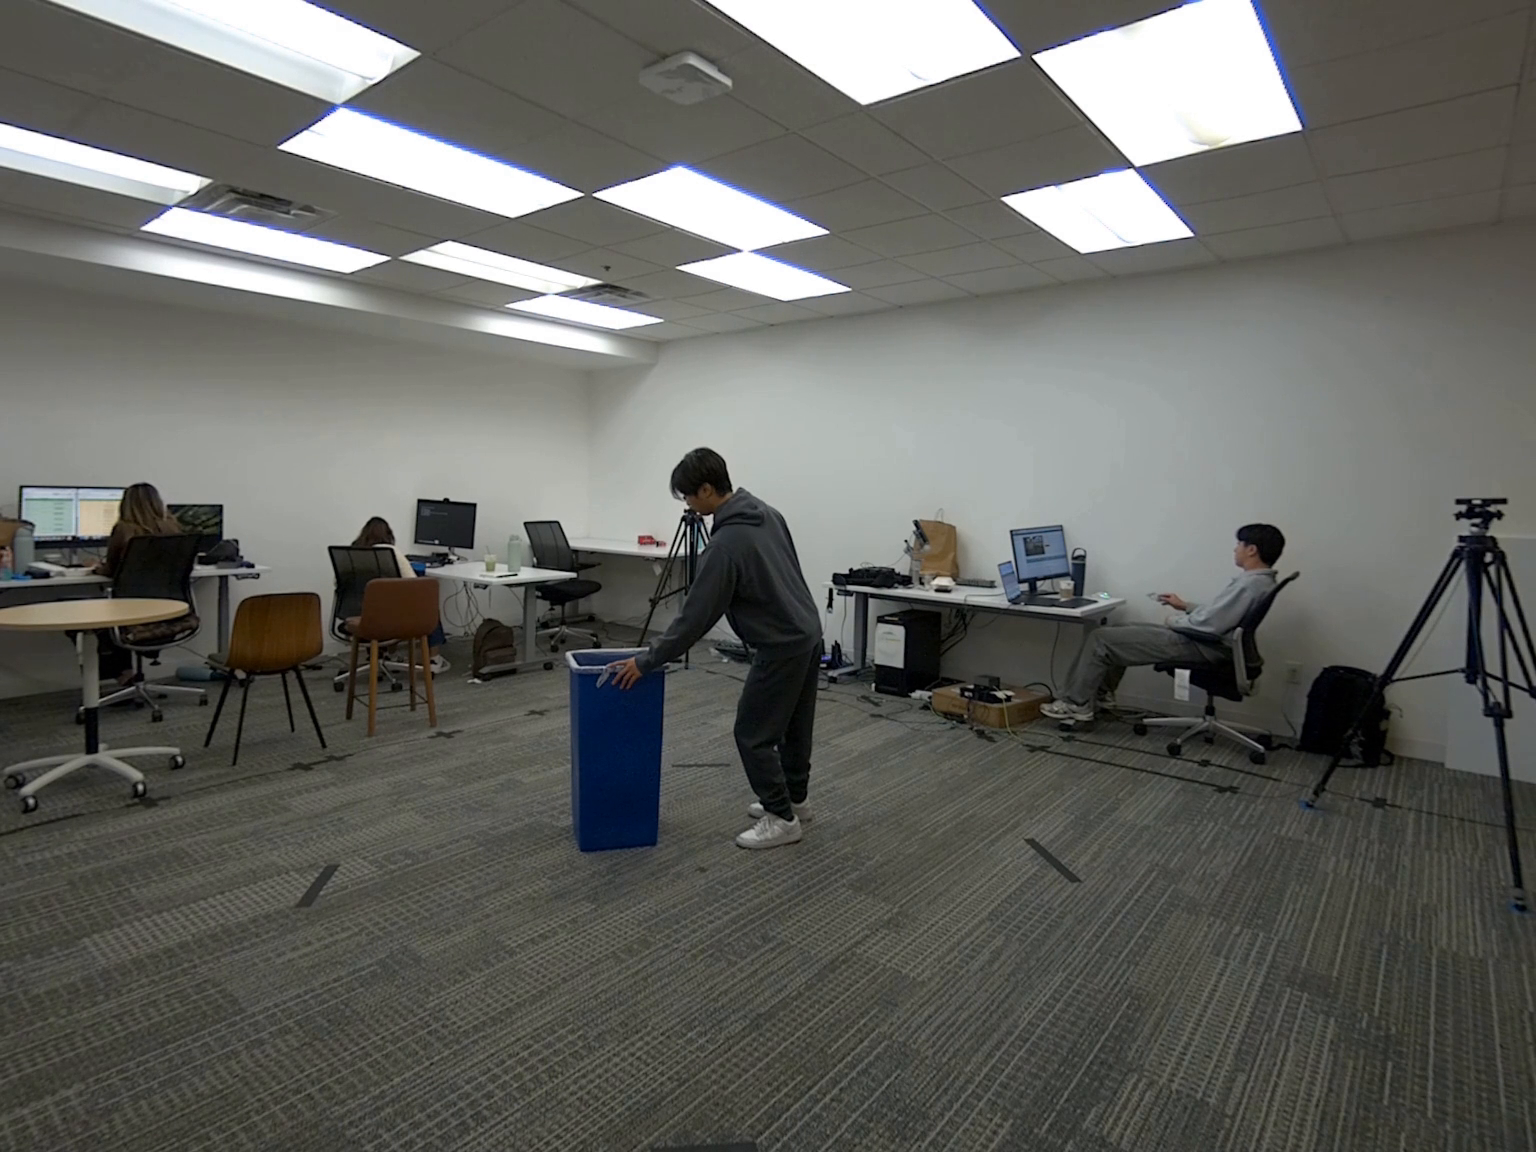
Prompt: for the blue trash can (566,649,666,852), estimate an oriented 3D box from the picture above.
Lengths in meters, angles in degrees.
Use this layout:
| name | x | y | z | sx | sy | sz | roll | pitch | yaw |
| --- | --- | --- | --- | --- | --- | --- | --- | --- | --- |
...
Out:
| name | x | y | z | sx | sy | sz | roll | pitch | yaw |
| --- | --- | --- | --- | --- | --- | --- | --- | --- | --- |
| blue trash can | -0.632 | 0.682 | 3.409 | 0.372 | 0.712 | 0.381 | 0 | 3 | -17 |
